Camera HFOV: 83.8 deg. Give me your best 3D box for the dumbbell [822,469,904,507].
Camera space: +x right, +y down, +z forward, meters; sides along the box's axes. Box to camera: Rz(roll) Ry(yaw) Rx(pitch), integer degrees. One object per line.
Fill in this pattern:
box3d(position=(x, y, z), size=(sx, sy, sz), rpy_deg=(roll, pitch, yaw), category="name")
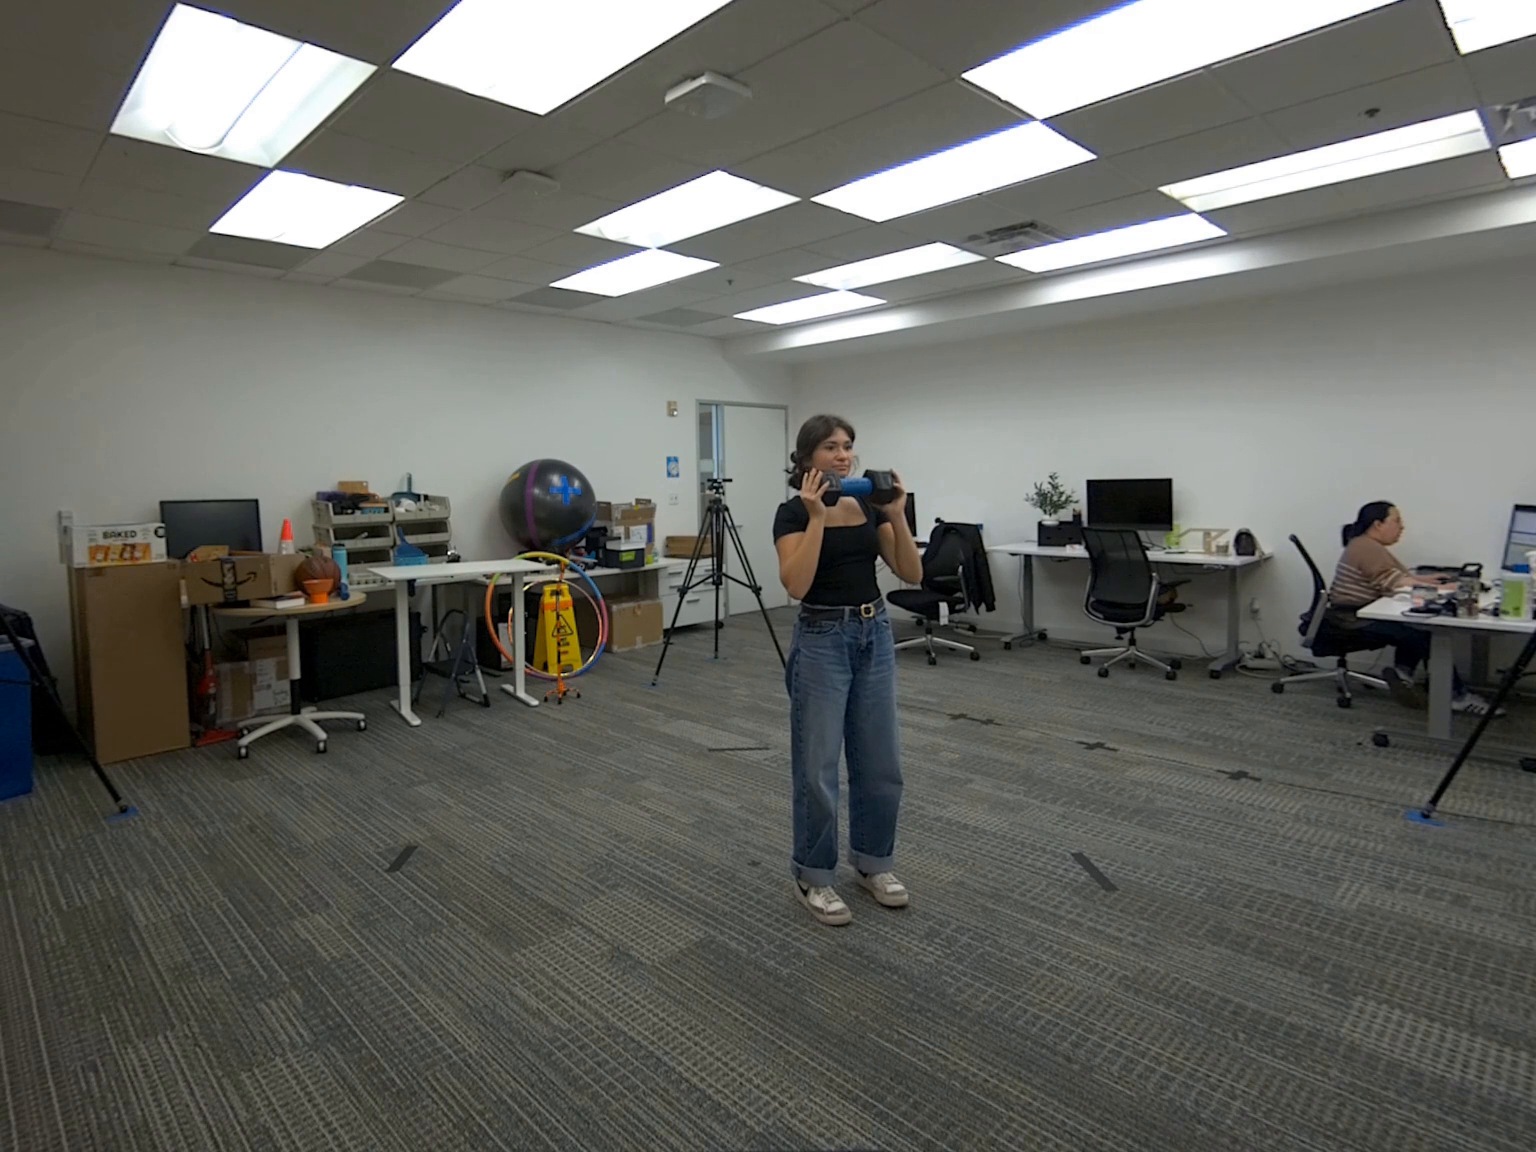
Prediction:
box3d(position=(0.263, -0.281, 2.693), size=(0.287, 0.121, 0.113), rpy_deg=(-4, 43, -27), category="dumbbell")
